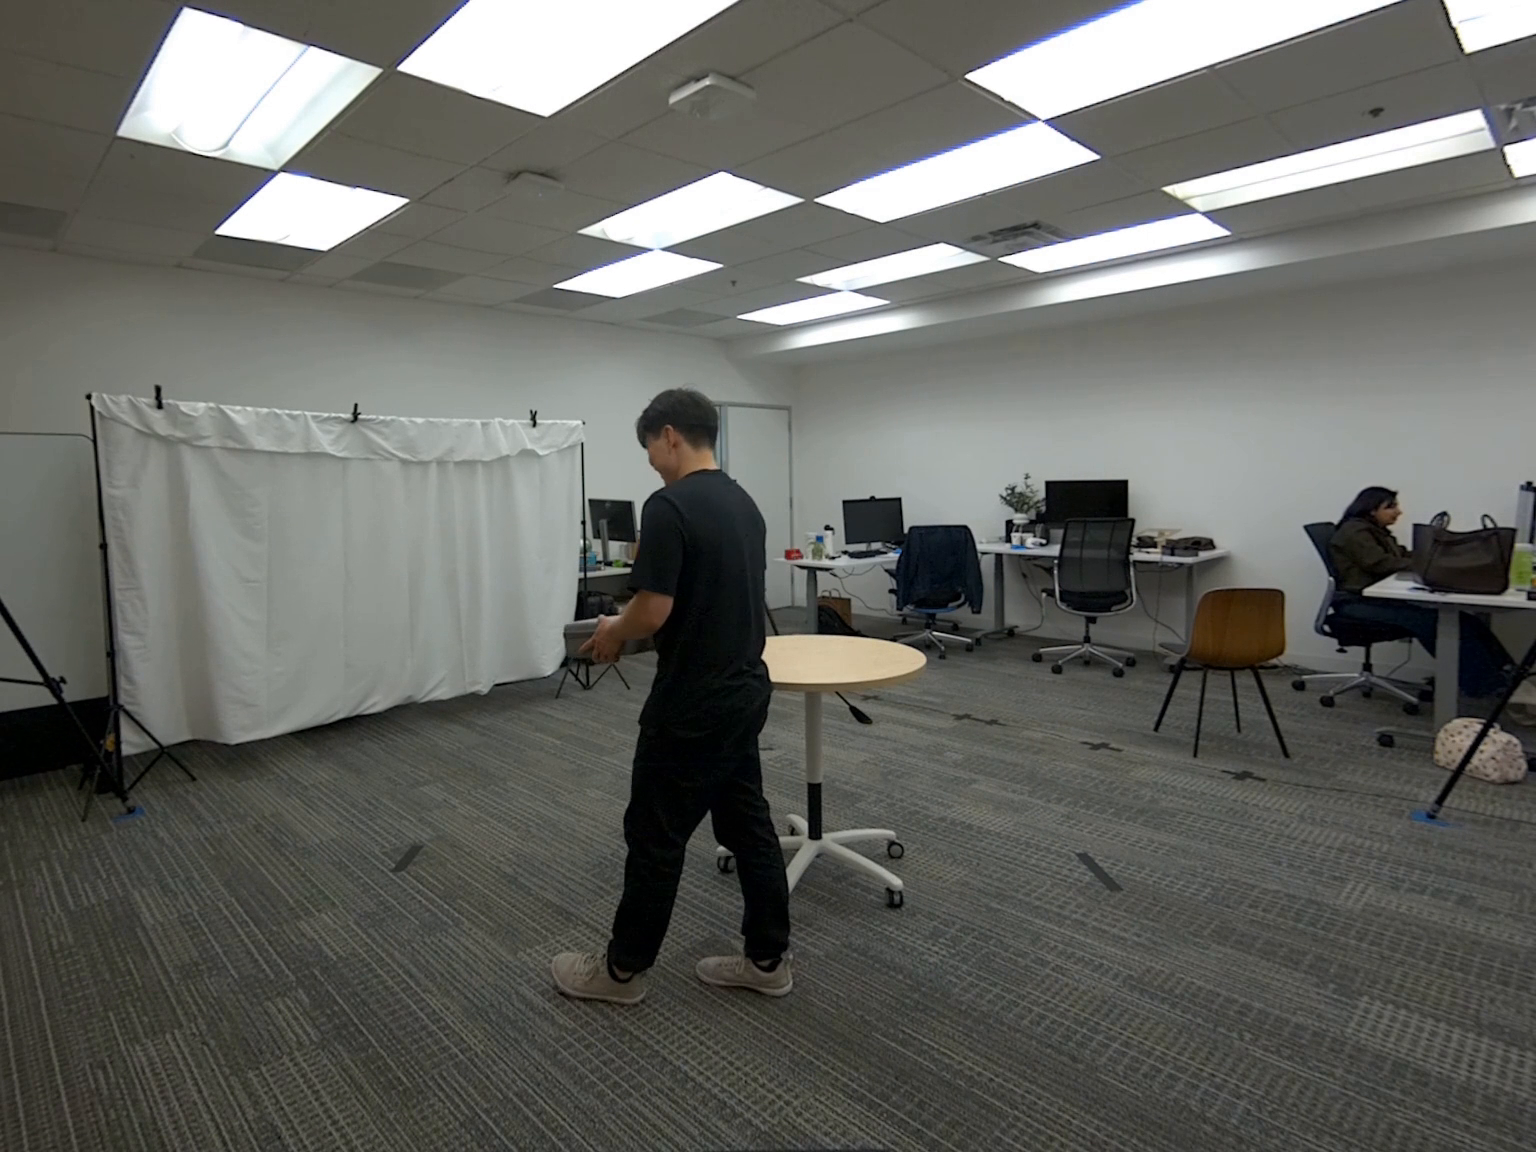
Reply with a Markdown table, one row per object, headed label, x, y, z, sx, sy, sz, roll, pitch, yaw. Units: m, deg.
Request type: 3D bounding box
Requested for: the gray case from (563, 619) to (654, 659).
| label | x | y | z | sx | sy | sz | roll | pitch | yaw |
| --- | --- | --- | --- | --- | --- | --- | --- | --- | --- |
| gray case | -0.426 | 0.170 | 2.466 | 0.266 | 0.104 | 0.251 | -4 | 2 | 27 |
